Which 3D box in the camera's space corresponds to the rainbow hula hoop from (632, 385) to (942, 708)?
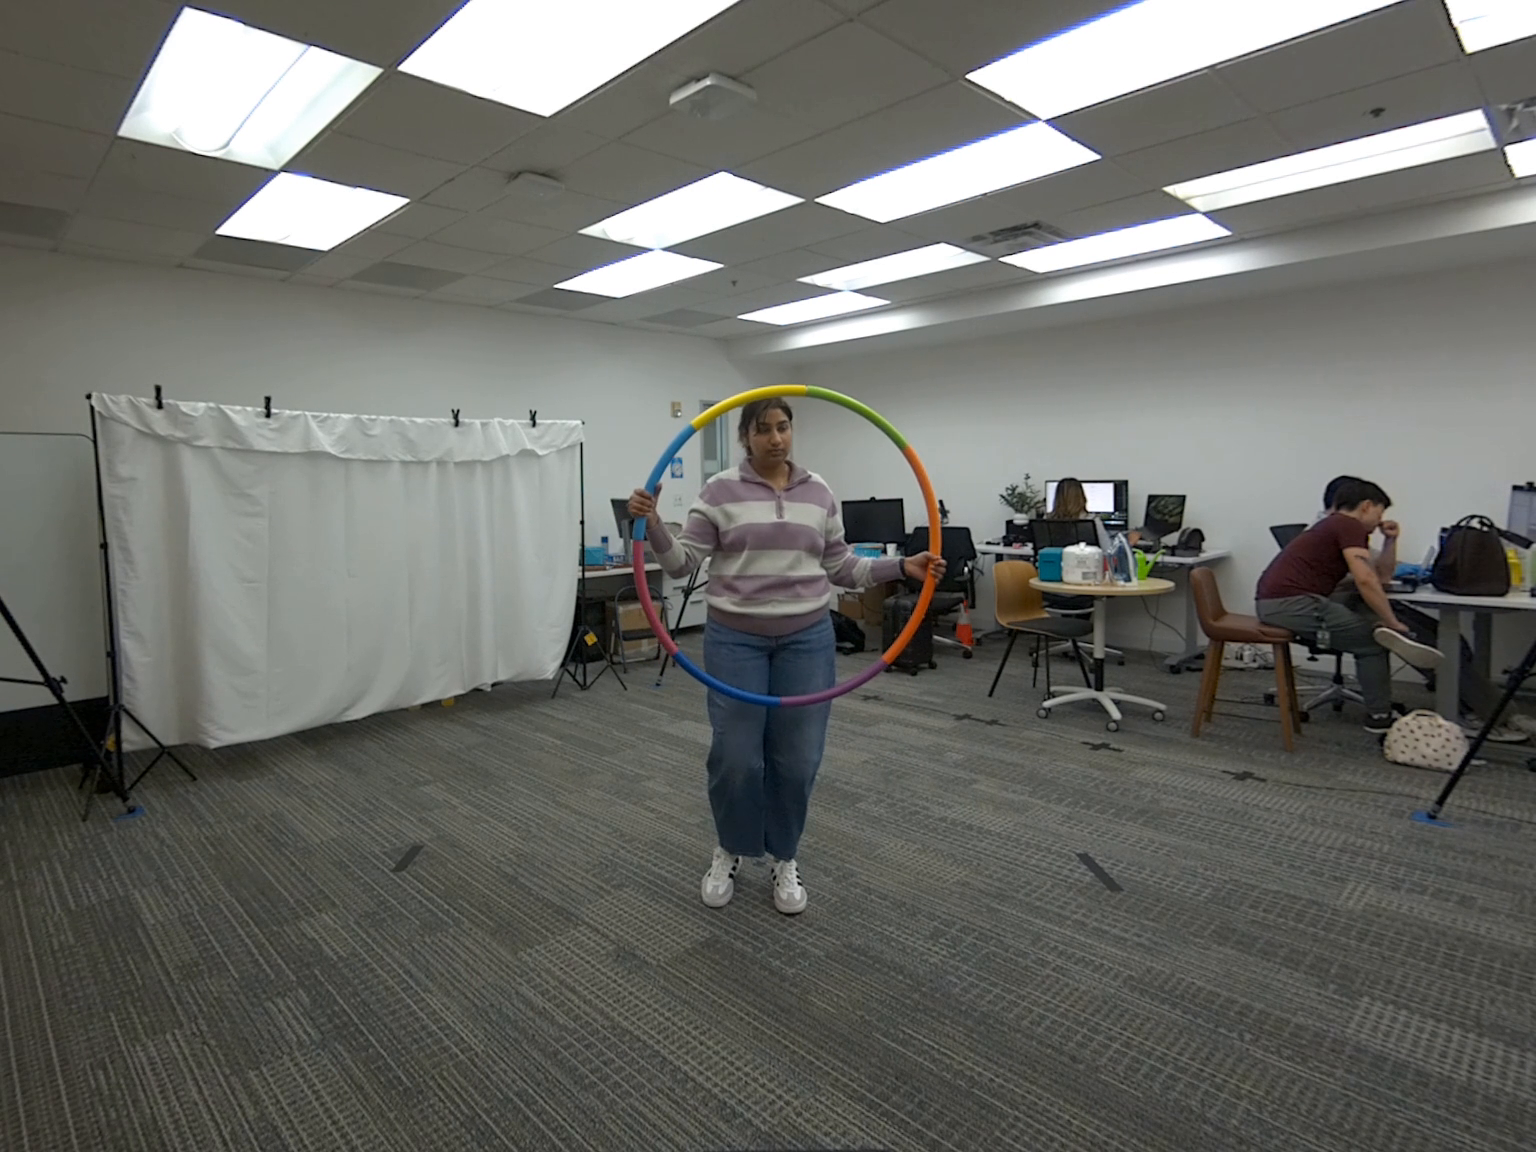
[{"bbox_3d":[0.071,-0.090,2.610,0.967,0.976,0.036,-2,3,-12],"label":"rainbow hula hoop"}]
